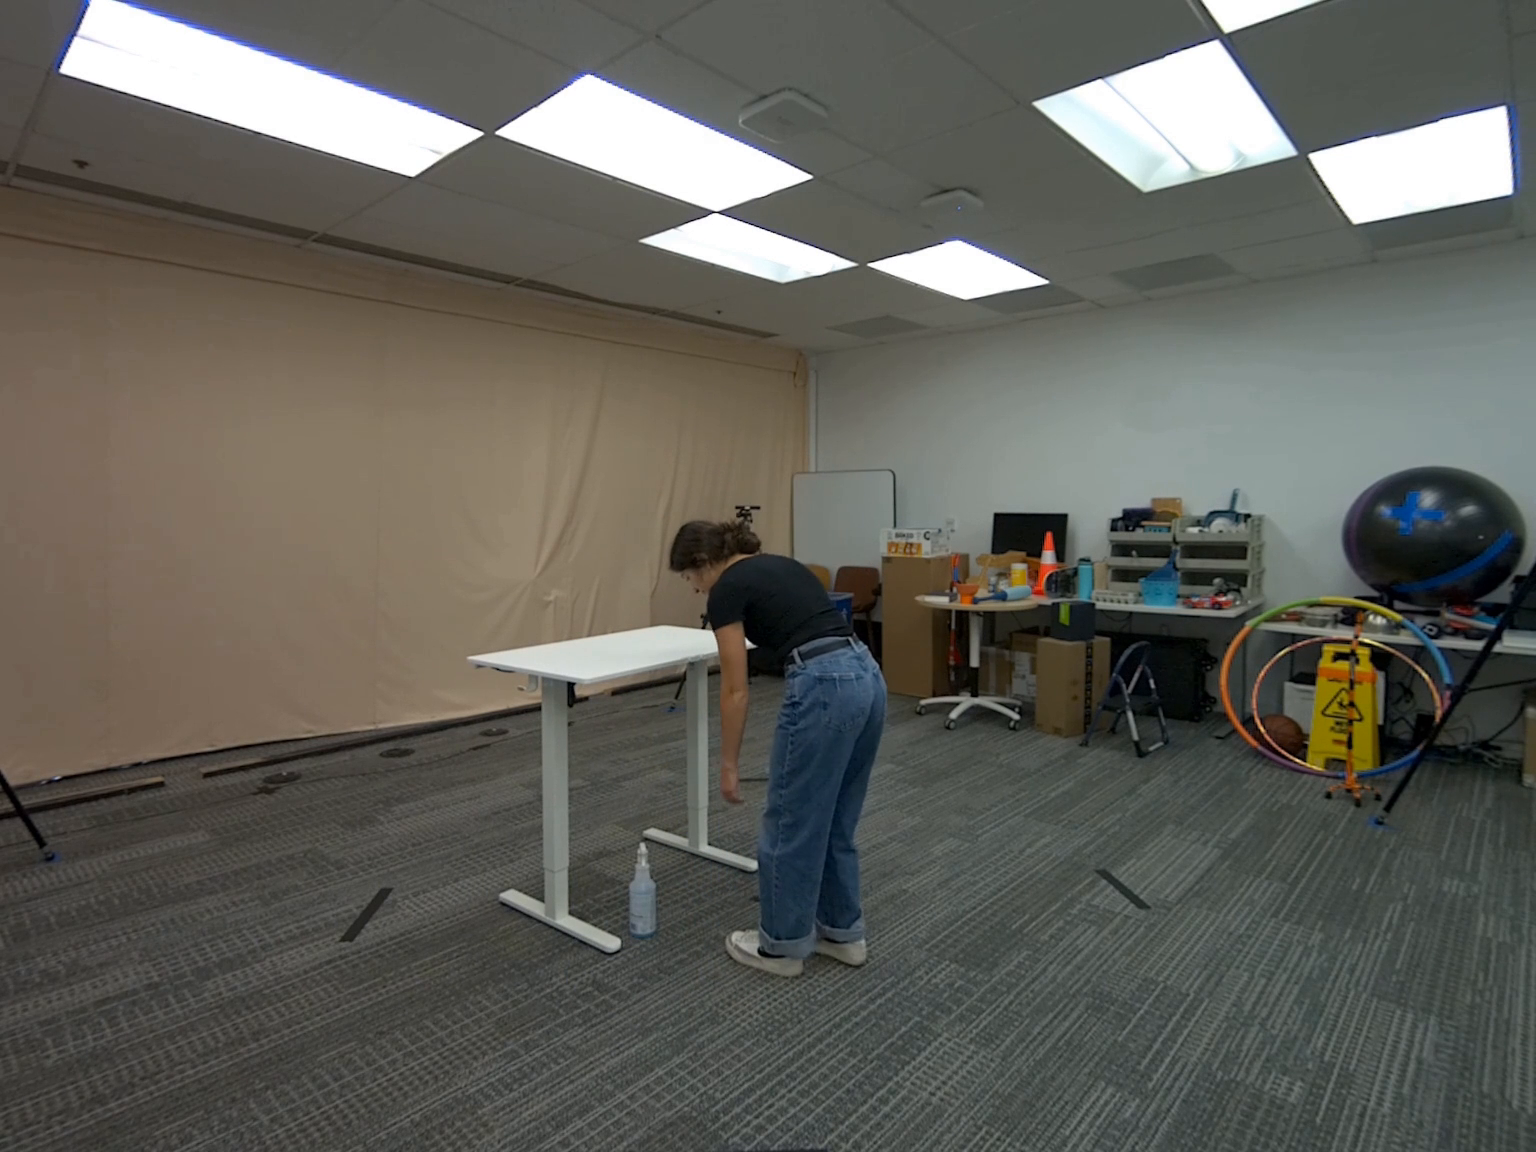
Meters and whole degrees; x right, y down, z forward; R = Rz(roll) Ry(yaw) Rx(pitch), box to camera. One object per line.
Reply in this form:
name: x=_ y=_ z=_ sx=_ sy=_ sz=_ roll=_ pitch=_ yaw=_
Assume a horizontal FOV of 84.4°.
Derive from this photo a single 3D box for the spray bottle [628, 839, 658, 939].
spray bottle: x=-0.411 y=1.029 z=2.732 sx=0.089 sy=0.296 sz=0.088 roll=4 pitch=6 yaw=18
